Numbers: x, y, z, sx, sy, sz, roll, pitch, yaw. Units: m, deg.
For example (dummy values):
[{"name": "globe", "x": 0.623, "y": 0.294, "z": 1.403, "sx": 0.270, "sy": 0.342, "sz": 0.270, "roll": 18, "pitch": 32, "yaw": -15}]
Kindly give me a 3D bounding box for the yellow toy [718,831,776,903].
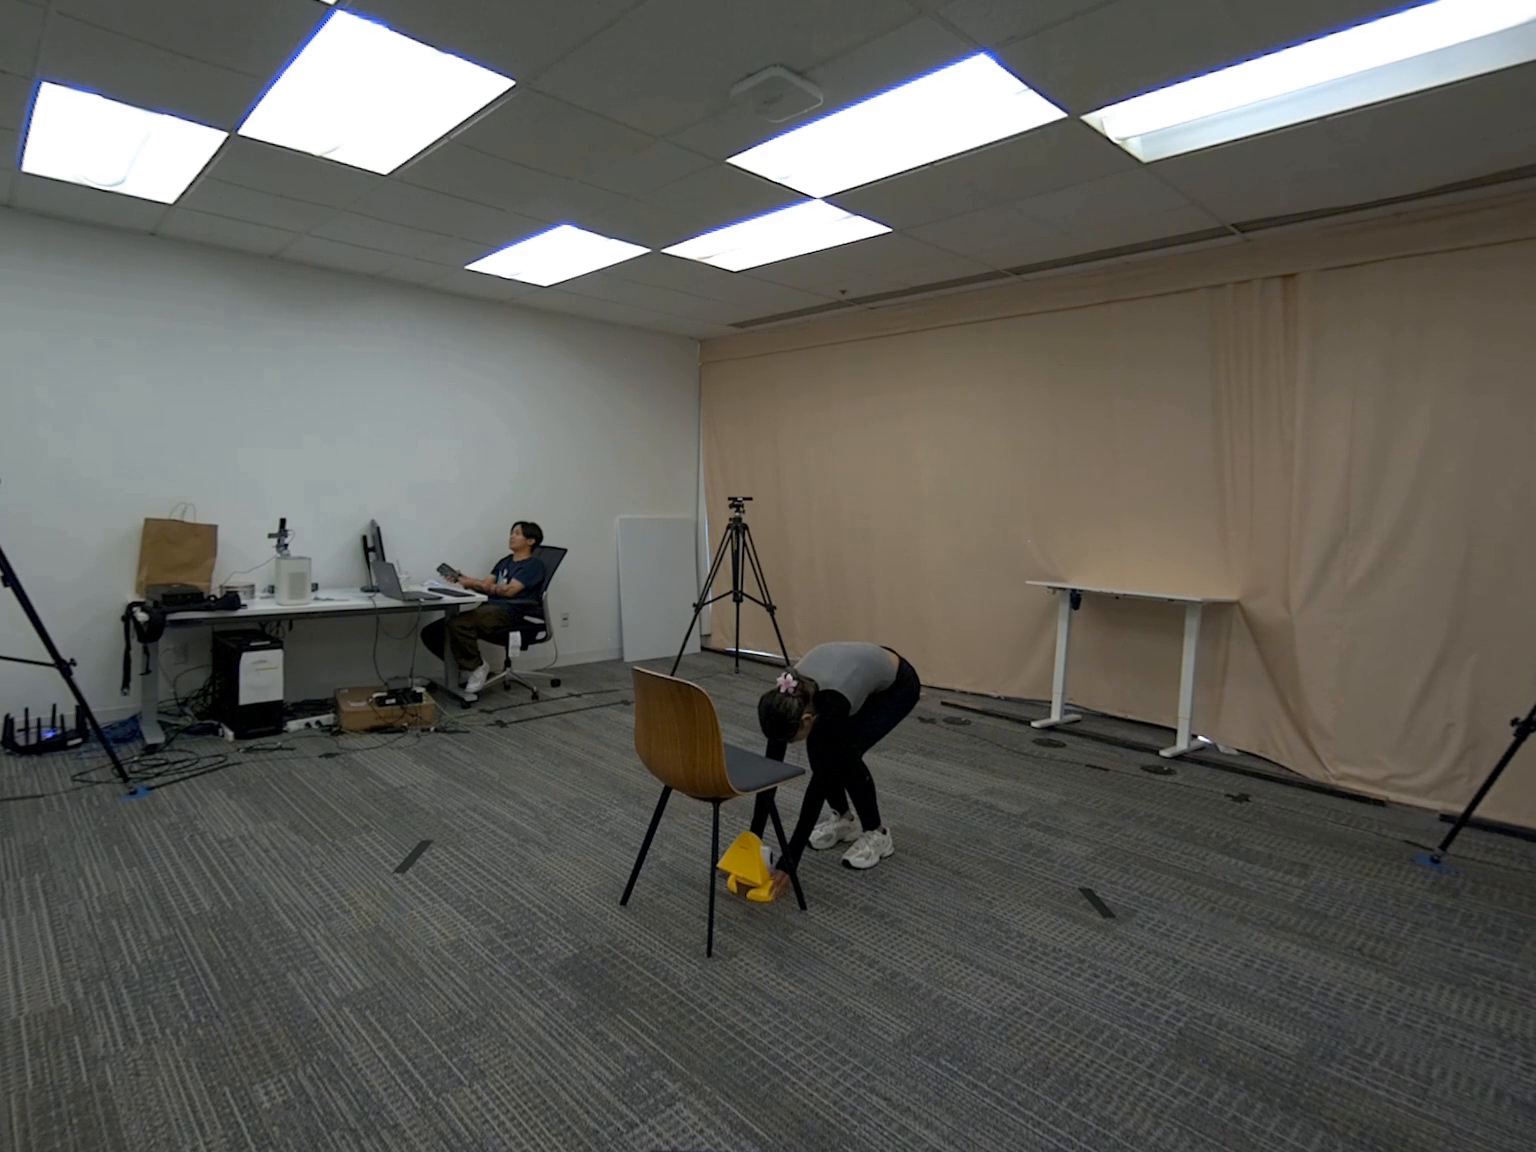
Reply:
[{"name": "yellow toy", "x": -0.053, "y": 1.009, "z": 3.007, "sx": 0.210, "sy": 0.230, "sz": 0.189, "roll": 4, "pitch": 4, "yaw": 42}]
